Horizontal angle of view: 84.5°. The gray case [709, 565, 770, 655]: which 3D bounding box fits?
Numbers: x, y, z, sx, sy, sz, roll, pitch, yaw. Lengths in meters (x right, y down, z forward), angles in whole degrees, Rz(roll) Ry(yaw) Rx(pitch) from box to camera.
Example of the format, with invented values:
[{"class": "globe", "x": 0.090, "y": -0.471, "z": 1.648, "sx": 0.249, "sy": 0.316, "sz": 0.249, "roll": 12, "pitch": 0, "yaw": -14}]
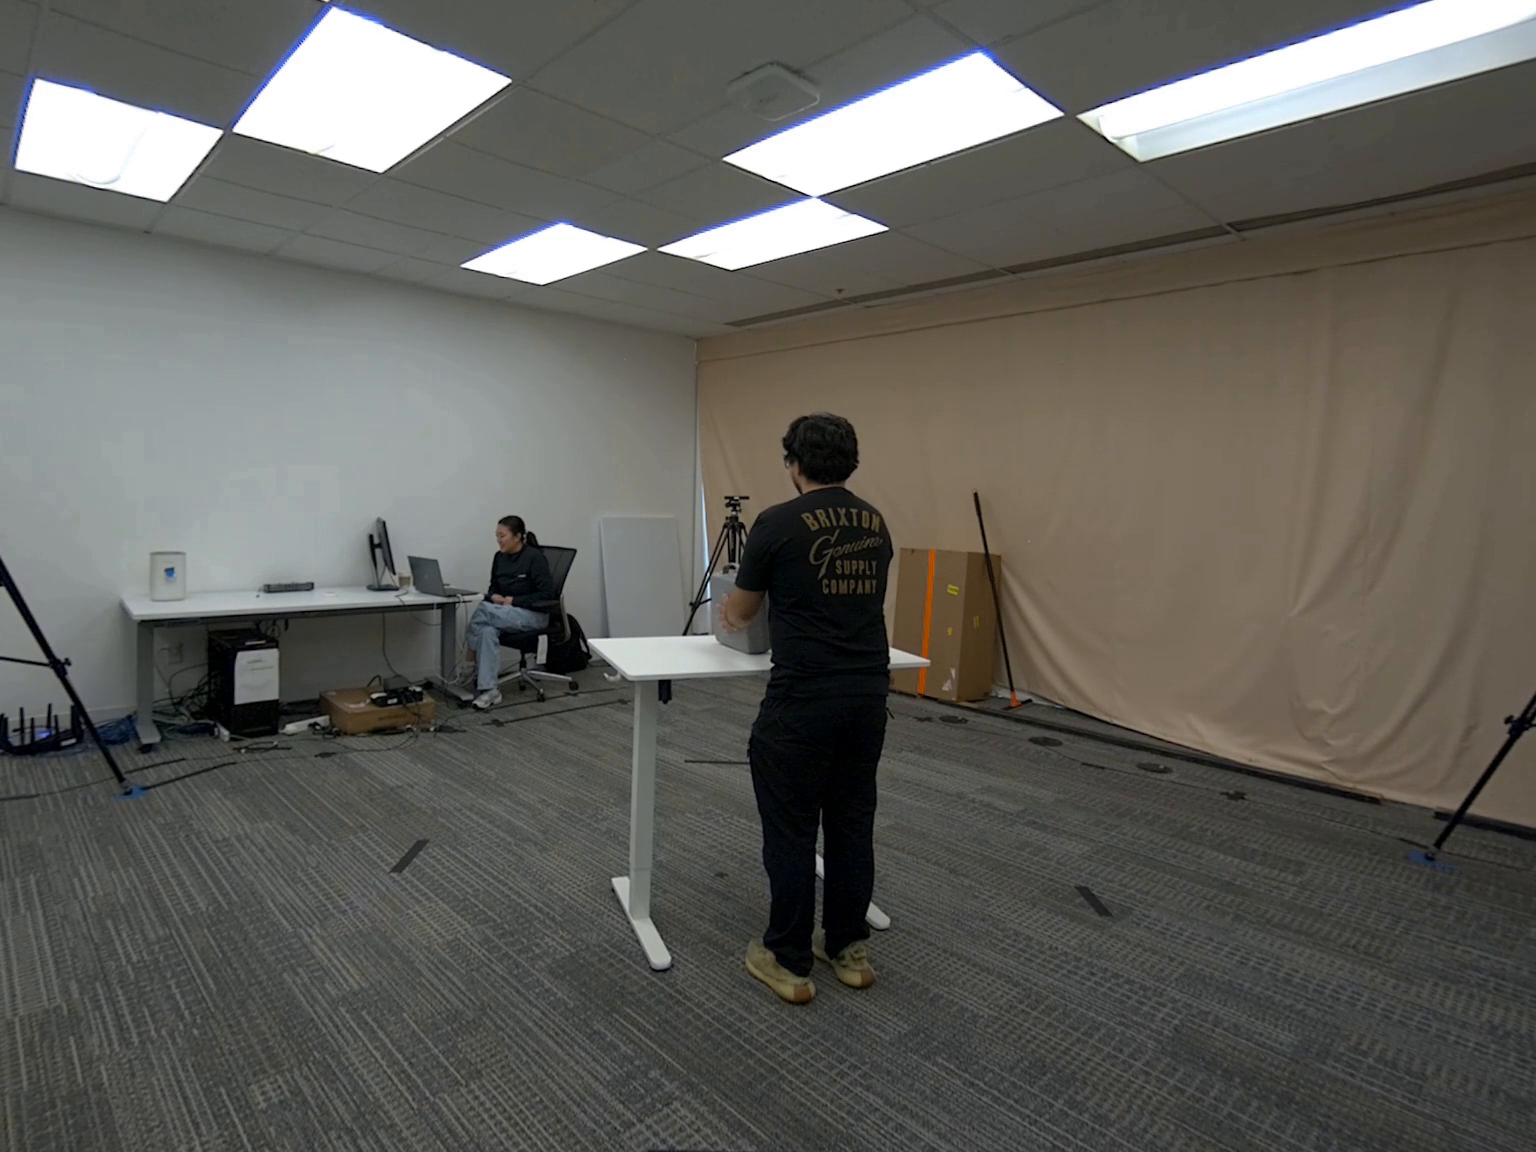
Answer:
[{"class": "gray case", "x": -0.096, "y": 0.116, "z": 2.825, "sx": 0.102, "sy": 0.259, "sz": 0.263, "roll": -9, "pitch": 11, "yaw": -27}]
